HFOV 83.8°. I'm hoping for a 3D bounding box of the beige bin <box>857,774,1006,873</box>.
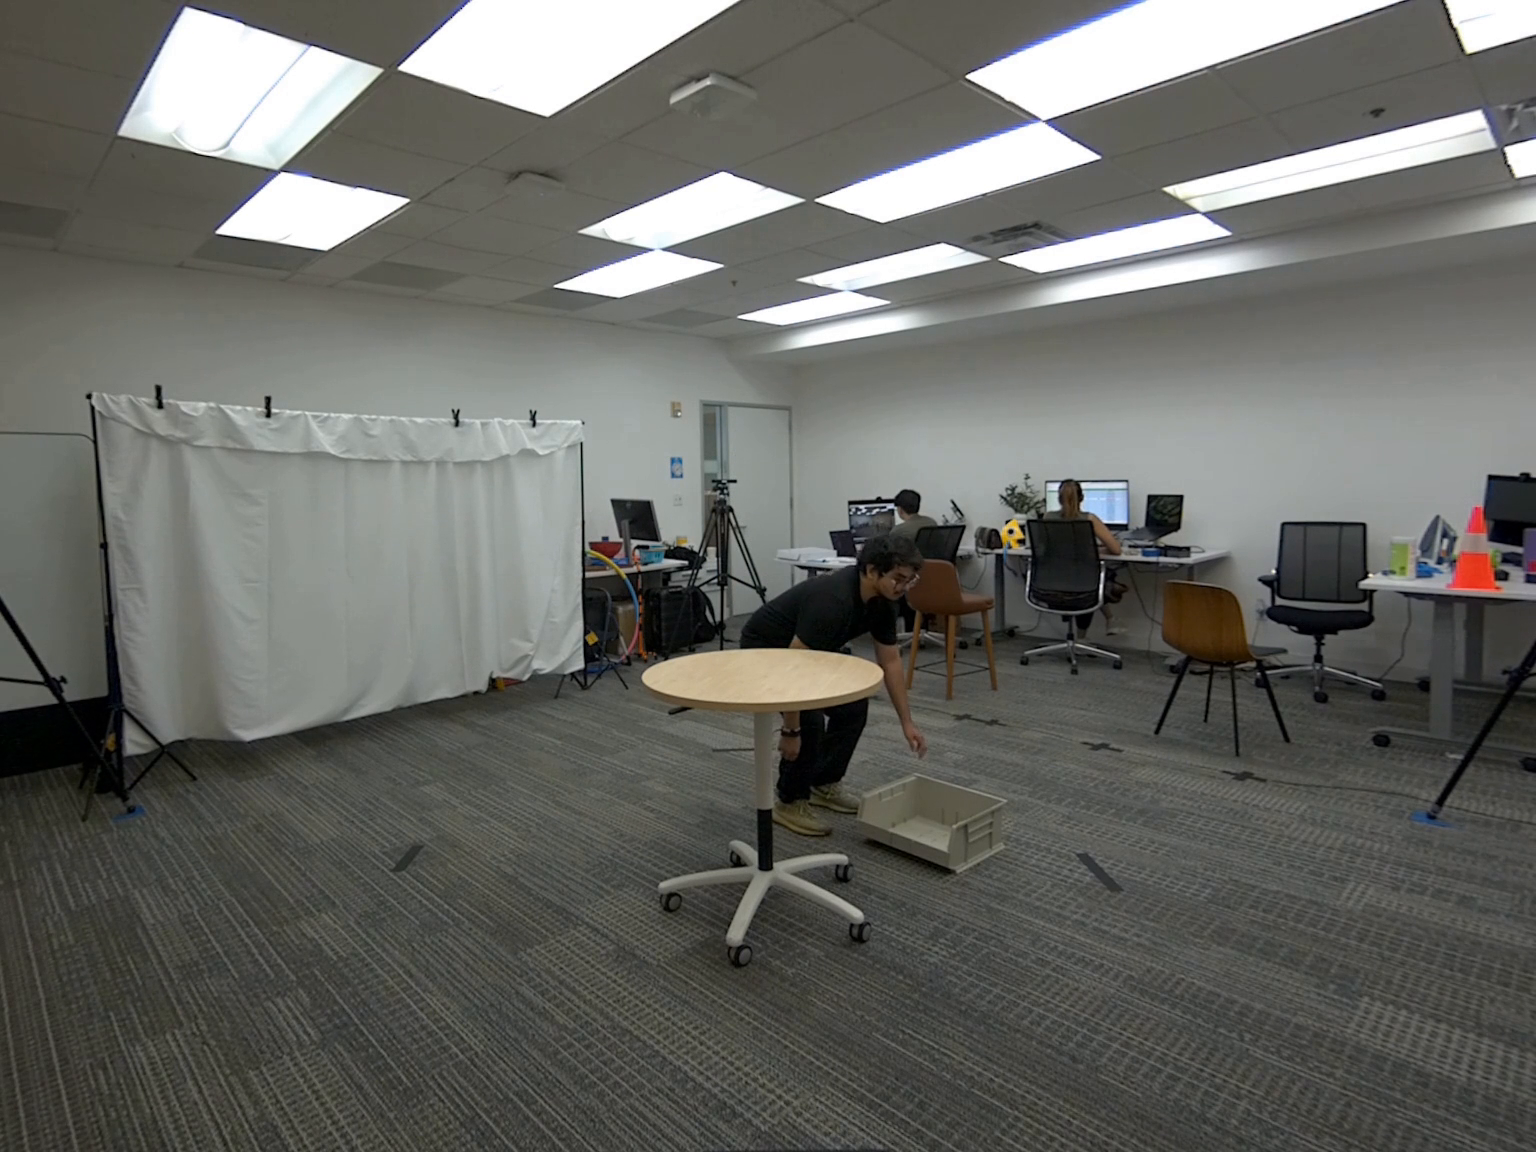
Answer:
[{"bbox_3d":[0.620,0.933,3.237,0.367,0.188,0.435,-4,6,-42],"label":"beige bin"}]
